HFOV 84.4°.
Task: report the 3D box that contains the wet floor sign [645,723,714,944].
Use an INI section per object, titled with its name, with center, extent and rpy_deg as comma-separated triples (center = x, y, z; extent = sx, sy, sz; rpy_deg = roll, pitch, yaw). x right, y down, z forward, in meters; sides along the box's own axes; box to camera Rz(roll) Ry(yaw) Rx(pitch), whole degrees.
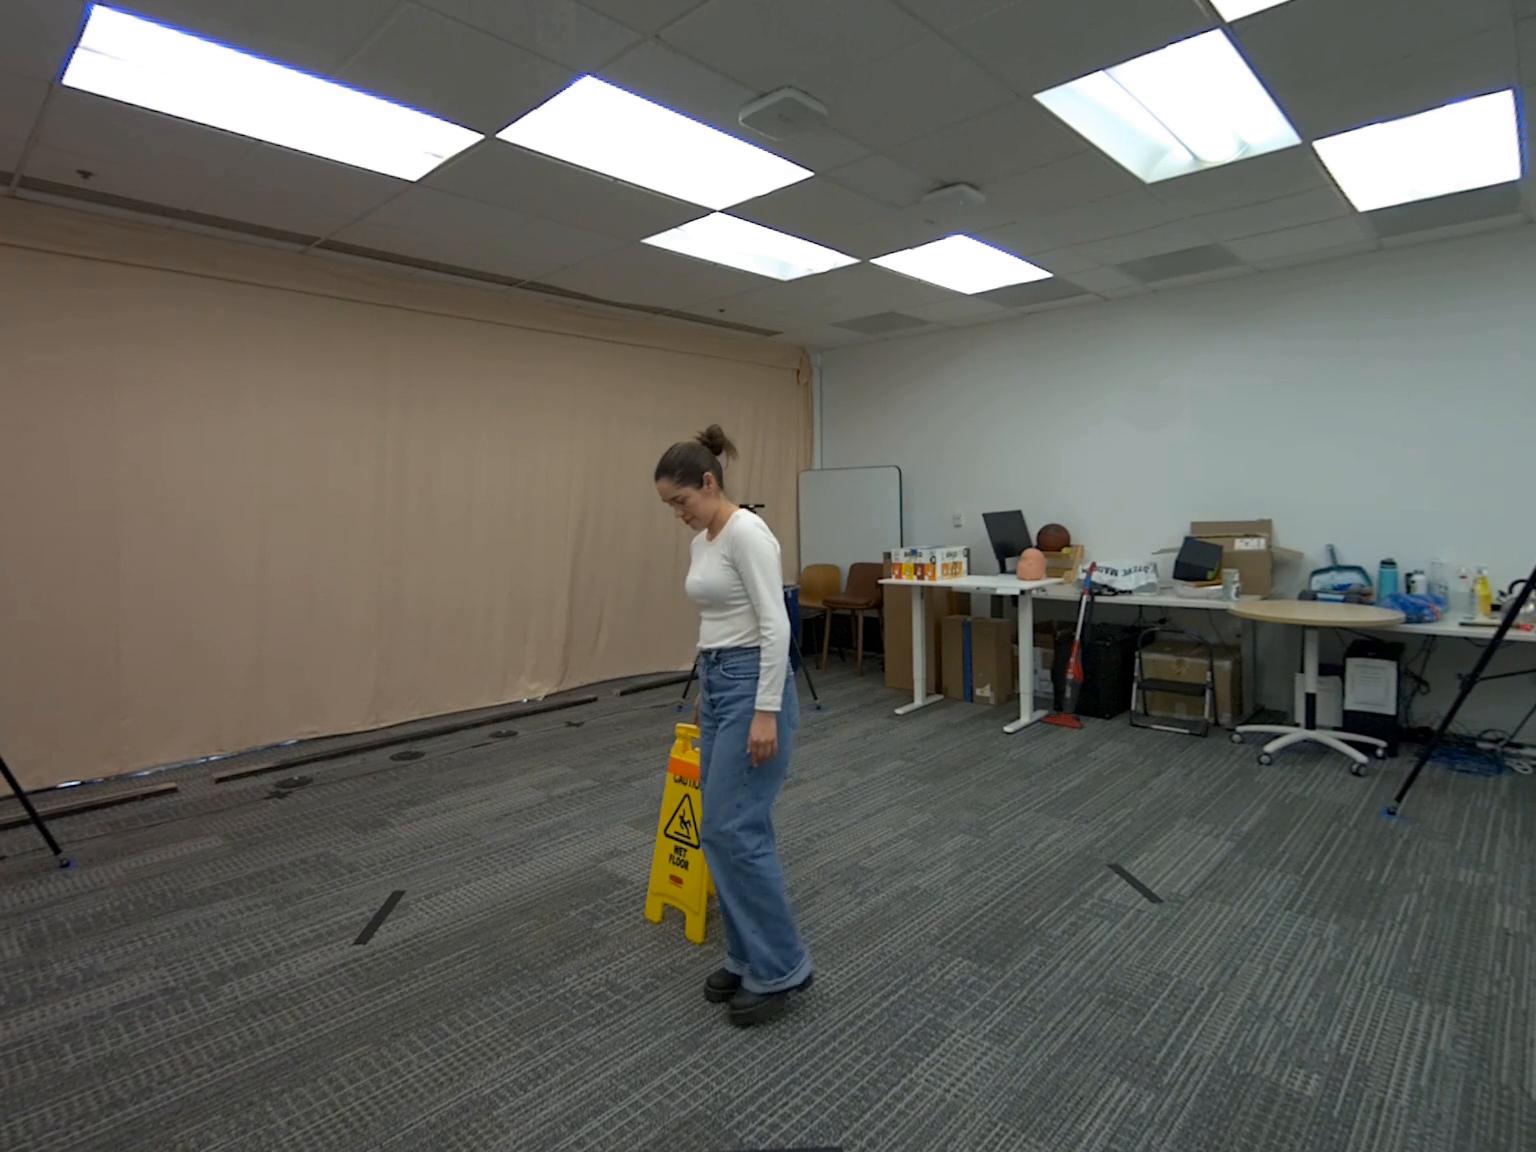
[wet floor sign]
center = -0.229, 0.832, 2.845
extent = 0.291, 0.645, 0.281
rpy_deg = 1, 4, 43
